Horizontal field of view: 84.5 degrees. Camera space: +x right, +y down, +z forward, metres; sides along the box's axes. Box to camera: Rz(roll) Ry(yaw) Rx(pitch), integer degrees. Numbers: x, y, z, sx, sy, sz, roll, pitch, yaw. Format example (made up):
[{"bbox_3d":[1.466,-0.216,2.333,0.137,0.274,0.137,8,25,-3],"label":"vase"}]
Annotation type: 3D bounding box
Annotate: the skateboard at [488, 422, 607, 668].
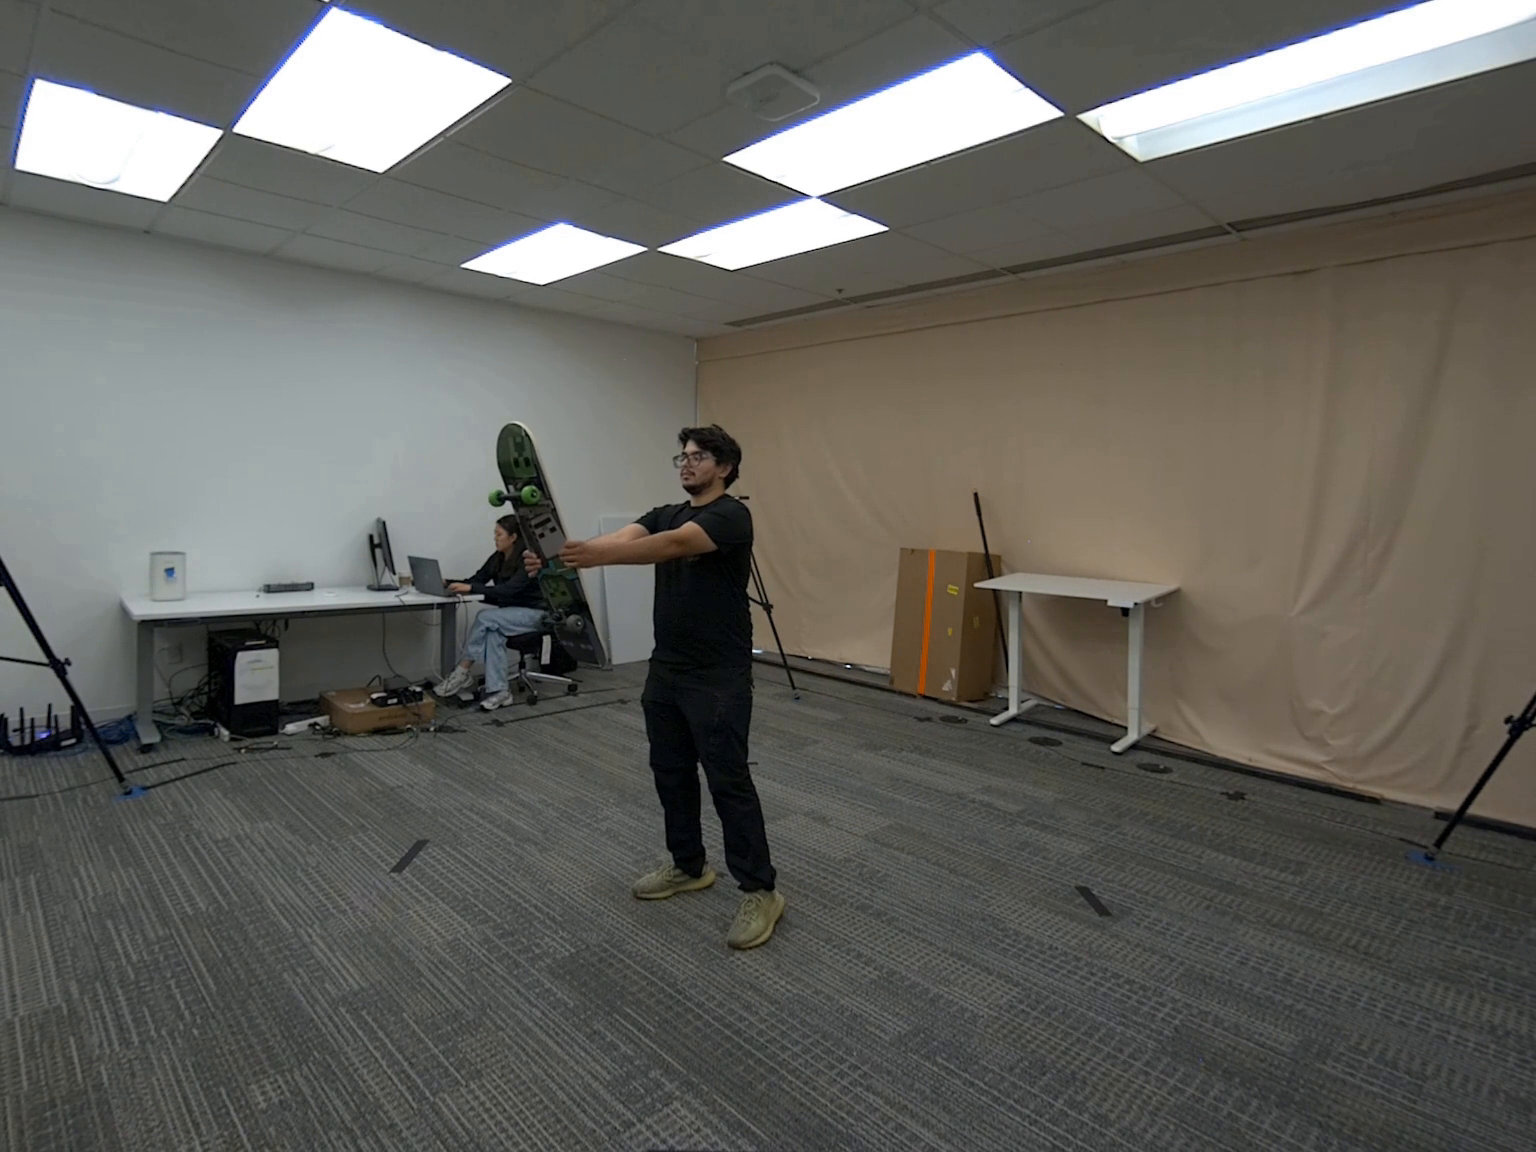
[{"bbox_3d":[-0.655,-0.050,2.450,0.198,0.774,0.109,-2,20,38],"label":"skateboard"}]
